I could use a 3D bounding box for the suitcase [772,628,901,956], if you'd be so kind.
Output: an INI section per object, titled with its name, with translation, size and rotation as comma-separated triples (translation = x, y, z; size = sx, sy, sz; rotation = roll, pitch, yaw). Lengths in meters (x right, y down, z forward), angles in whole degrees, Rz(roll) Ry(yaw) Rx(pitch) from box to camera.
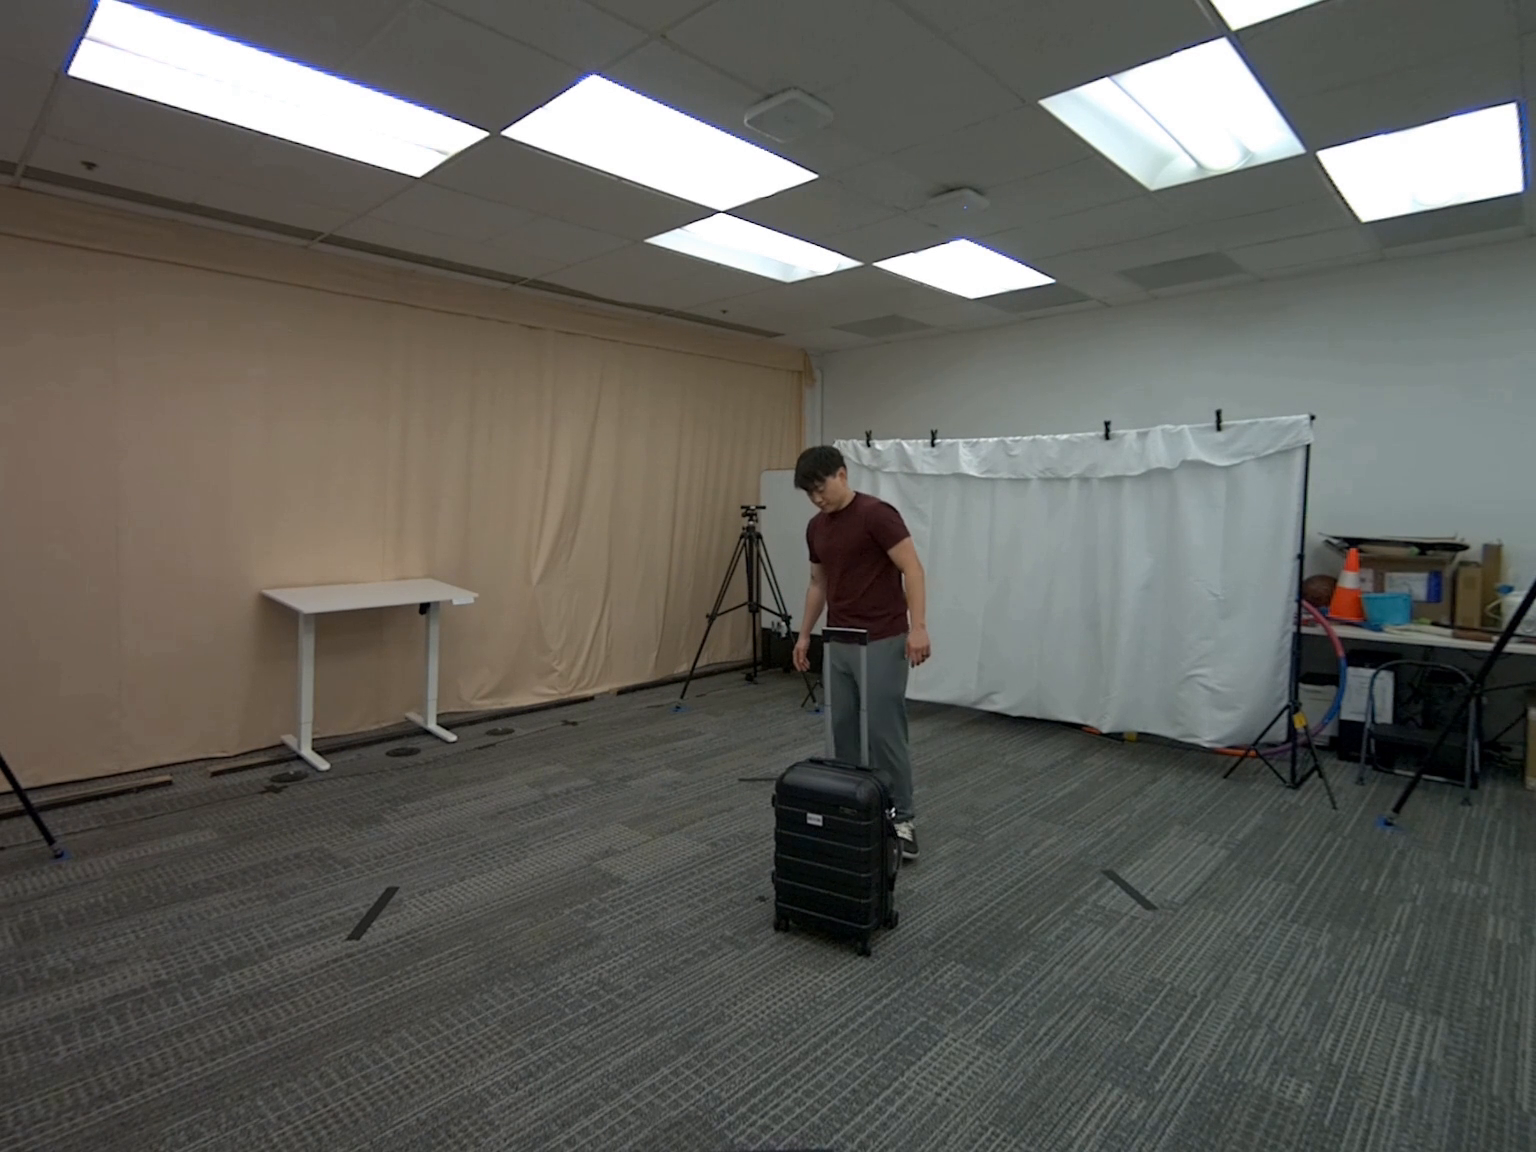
[suitcase]
translation = 0.214, 0.687, 2.725
size = 0.395, 0.975, 0.250
rotation = 2, 6, 31
